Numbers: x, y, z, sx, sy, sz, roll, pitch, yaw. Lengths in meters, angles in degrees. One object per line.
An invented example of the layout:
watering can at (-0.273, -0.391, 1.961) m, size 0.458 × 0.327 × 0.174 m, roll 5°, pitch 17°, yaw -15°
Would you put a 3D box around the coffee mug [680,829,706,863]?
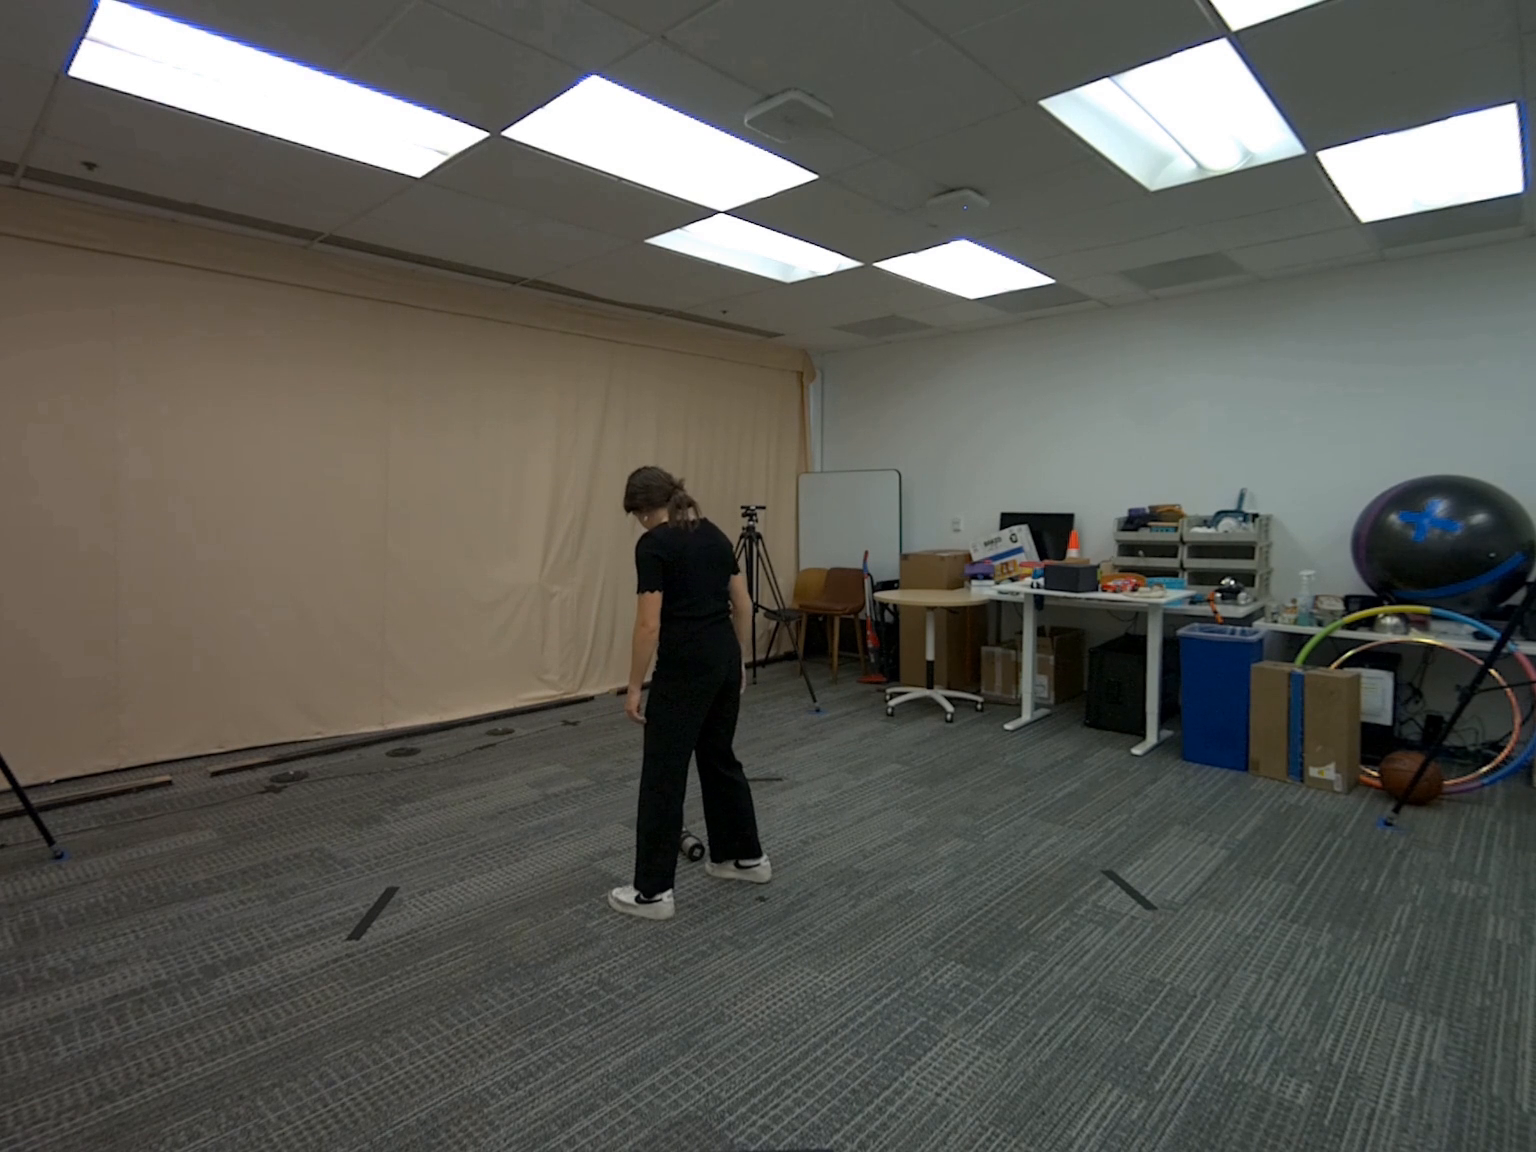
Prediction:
coffee mug at (-0.306, 1.067, 3.393) m, size 0.119 × 0.087 × 0.209 m, roll -14°, pitch 10°, yaw -30°
